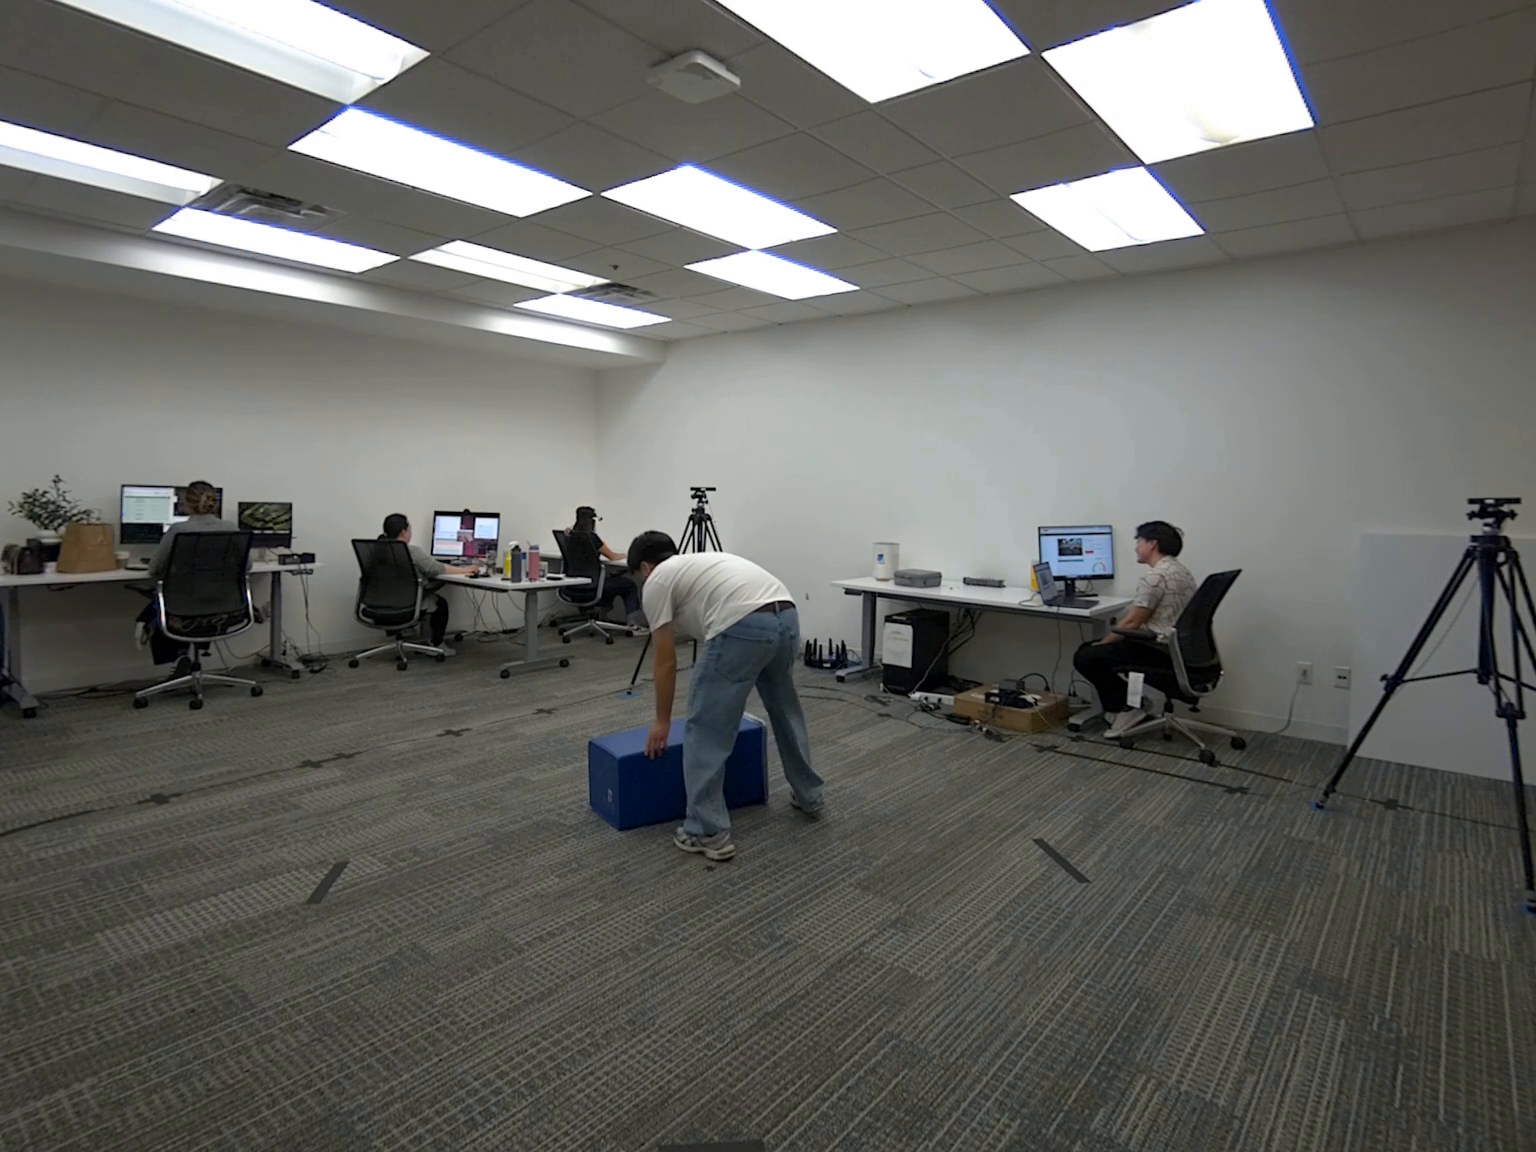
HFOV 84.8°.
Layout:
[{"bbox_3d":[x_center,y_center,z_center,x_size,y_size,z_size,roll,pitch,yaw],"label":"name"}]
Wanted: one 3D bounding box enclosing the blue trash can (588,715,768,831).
[{"bbox_3d":[-0.404,0.837,3.713,0.695,0.376,0.386,-6,8,-33],"label":"blue trash can"}]
